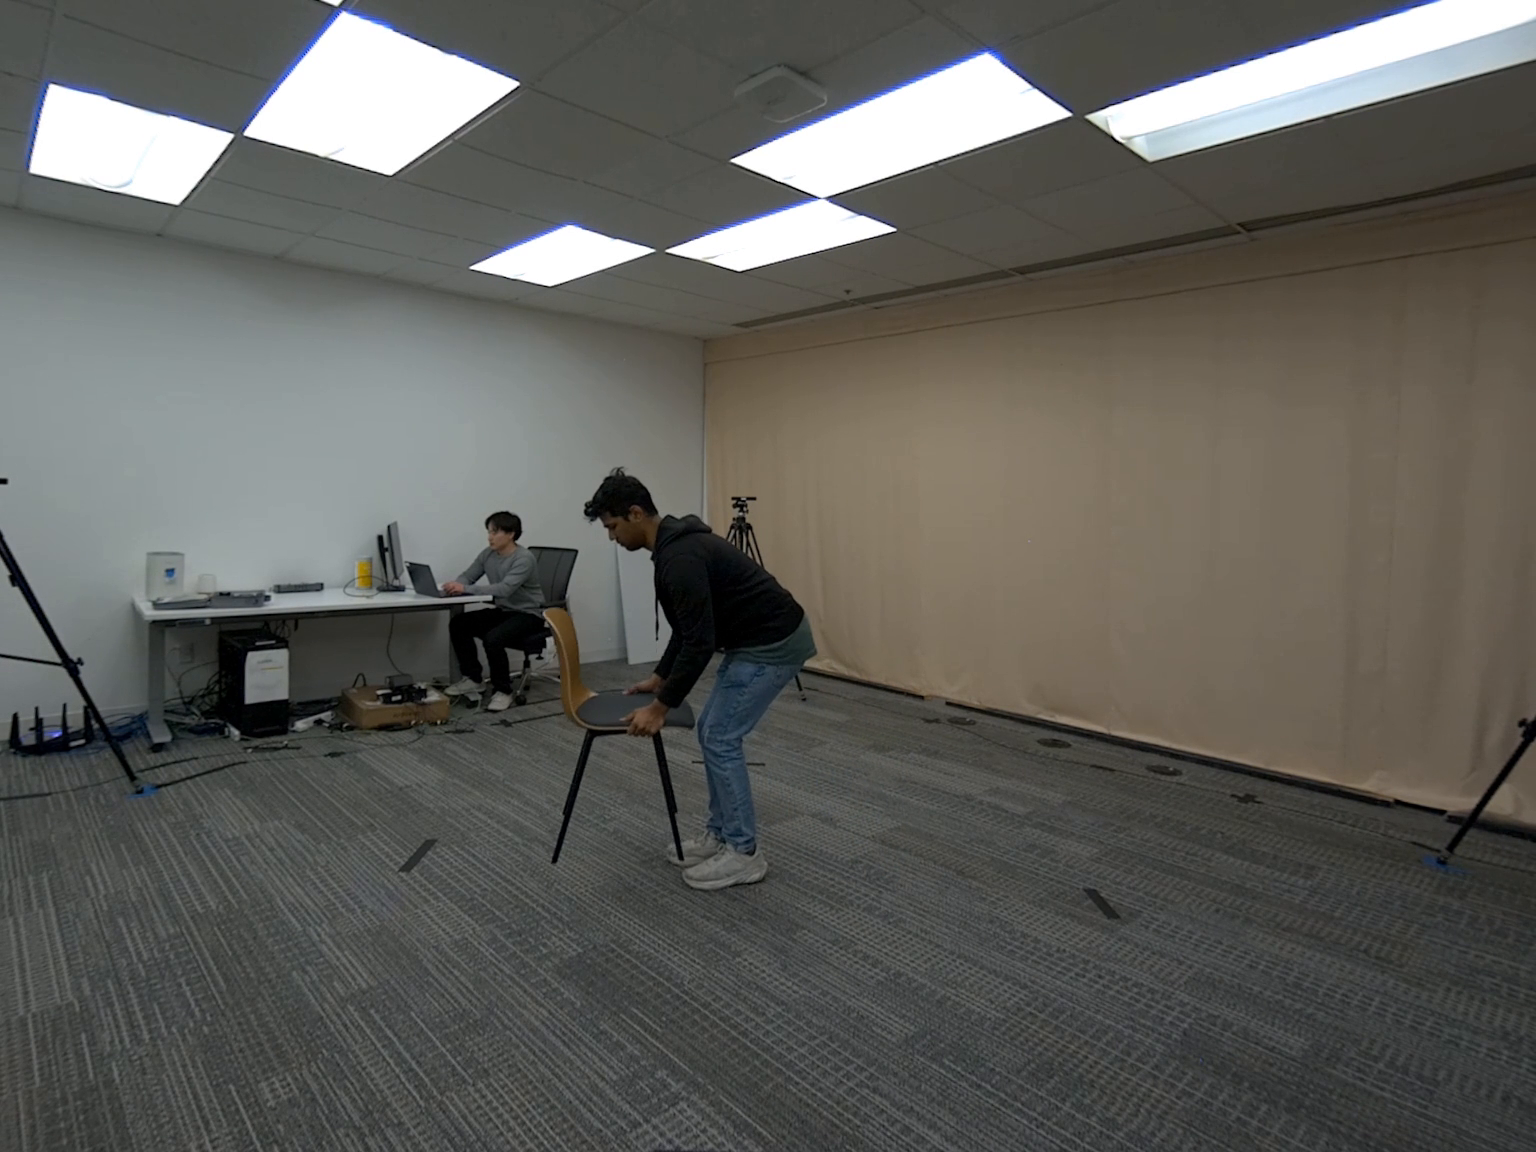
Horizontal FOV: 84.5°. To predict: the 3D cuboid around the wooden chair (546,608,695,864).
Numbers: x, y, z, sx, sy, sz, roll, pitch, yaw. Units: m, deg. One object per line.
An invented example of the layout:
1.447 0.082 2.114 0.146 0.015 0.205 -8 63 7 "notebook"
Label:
-0.537 0.538 3.104 0.520 0.875 0.482 -3 4 -8 "wooden chair"
